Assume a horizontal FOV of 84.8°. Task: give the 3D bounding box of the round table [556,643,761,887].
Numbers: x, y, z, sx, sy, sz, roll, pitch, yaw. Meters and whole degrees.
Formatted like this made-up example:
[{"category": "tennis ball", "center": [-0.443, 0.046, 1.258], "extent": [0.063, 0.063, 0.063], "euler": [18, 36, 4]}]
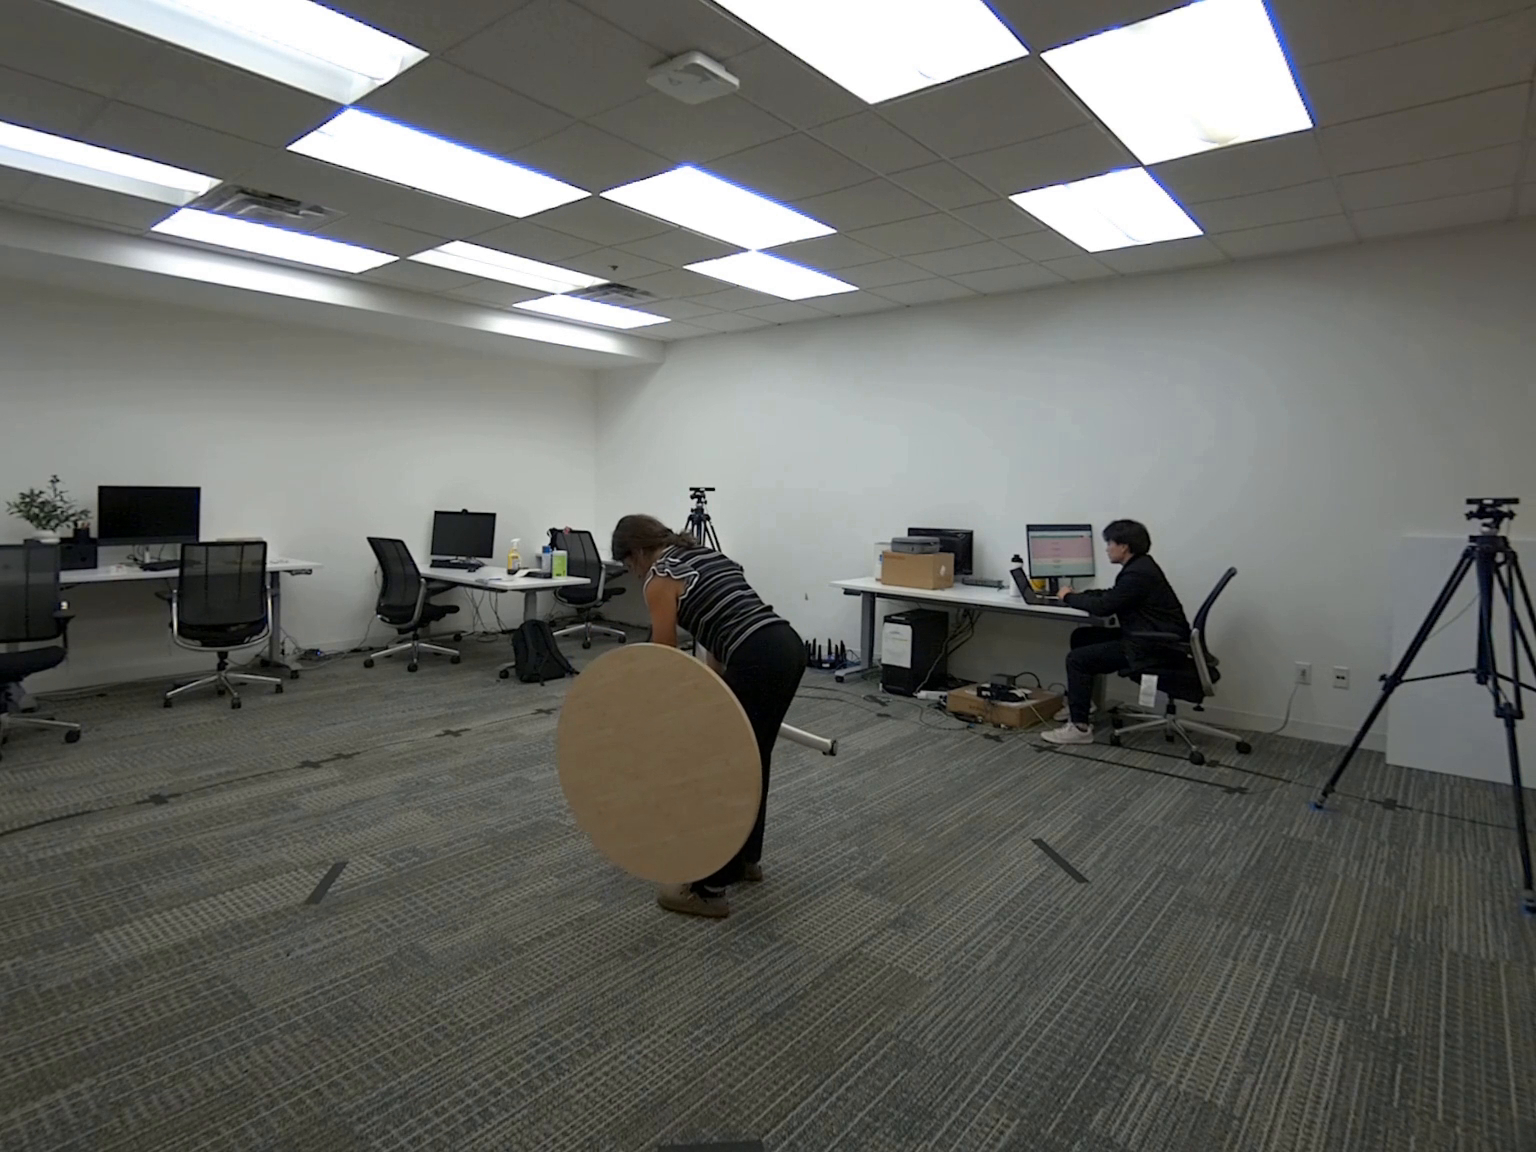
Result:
[{"category": "round table", "center": [-0.221, 0.572, 3.068], "extent": [0.785, 0.762, 0.775], "euler": [3, 4, 27]}]
